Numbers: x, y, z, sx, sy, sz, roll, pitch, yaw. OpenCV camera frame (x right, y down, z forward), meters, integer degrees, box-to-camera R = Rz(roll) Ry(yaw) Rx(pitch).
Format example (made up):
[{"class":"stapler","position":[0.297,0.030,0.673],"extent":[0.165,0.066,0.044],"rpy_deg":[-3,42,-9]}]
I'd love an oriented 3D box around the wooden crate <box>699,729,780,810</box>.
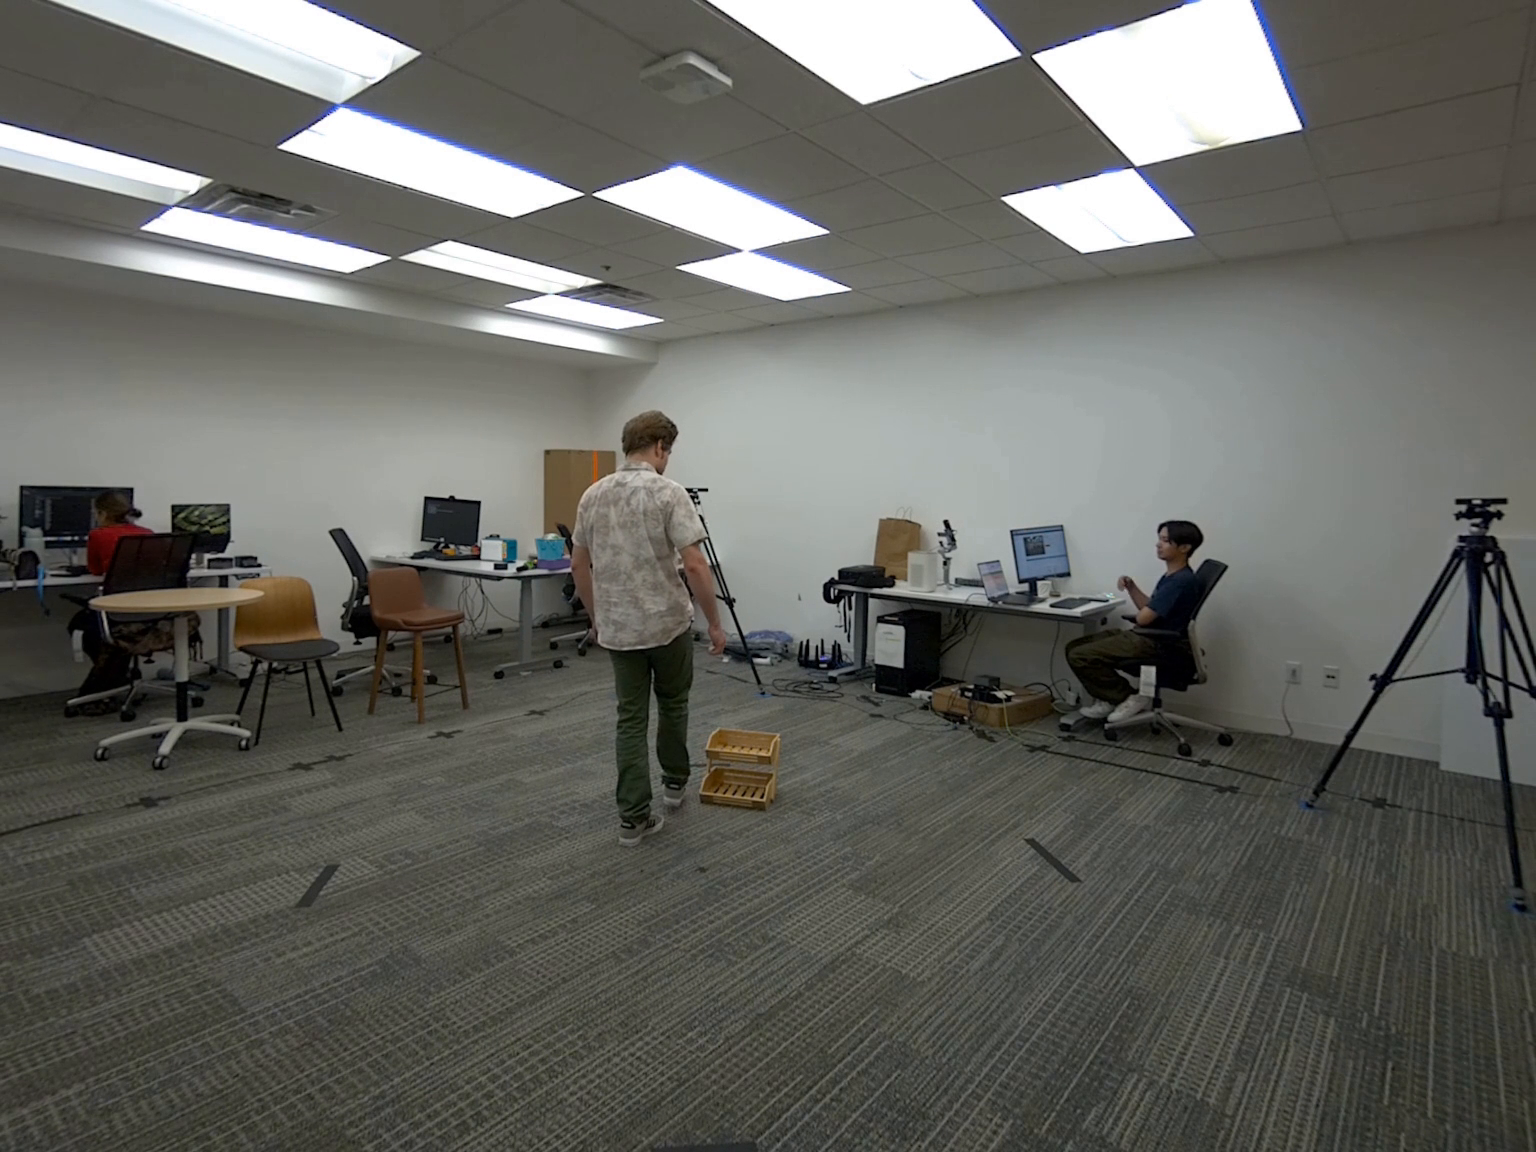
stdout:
[{"class":"wooden crate","position":[-0.132,0.861,3.860],"extent":[0.330,0.272,0.298],"rpy_deg":[2,4,14]}]
